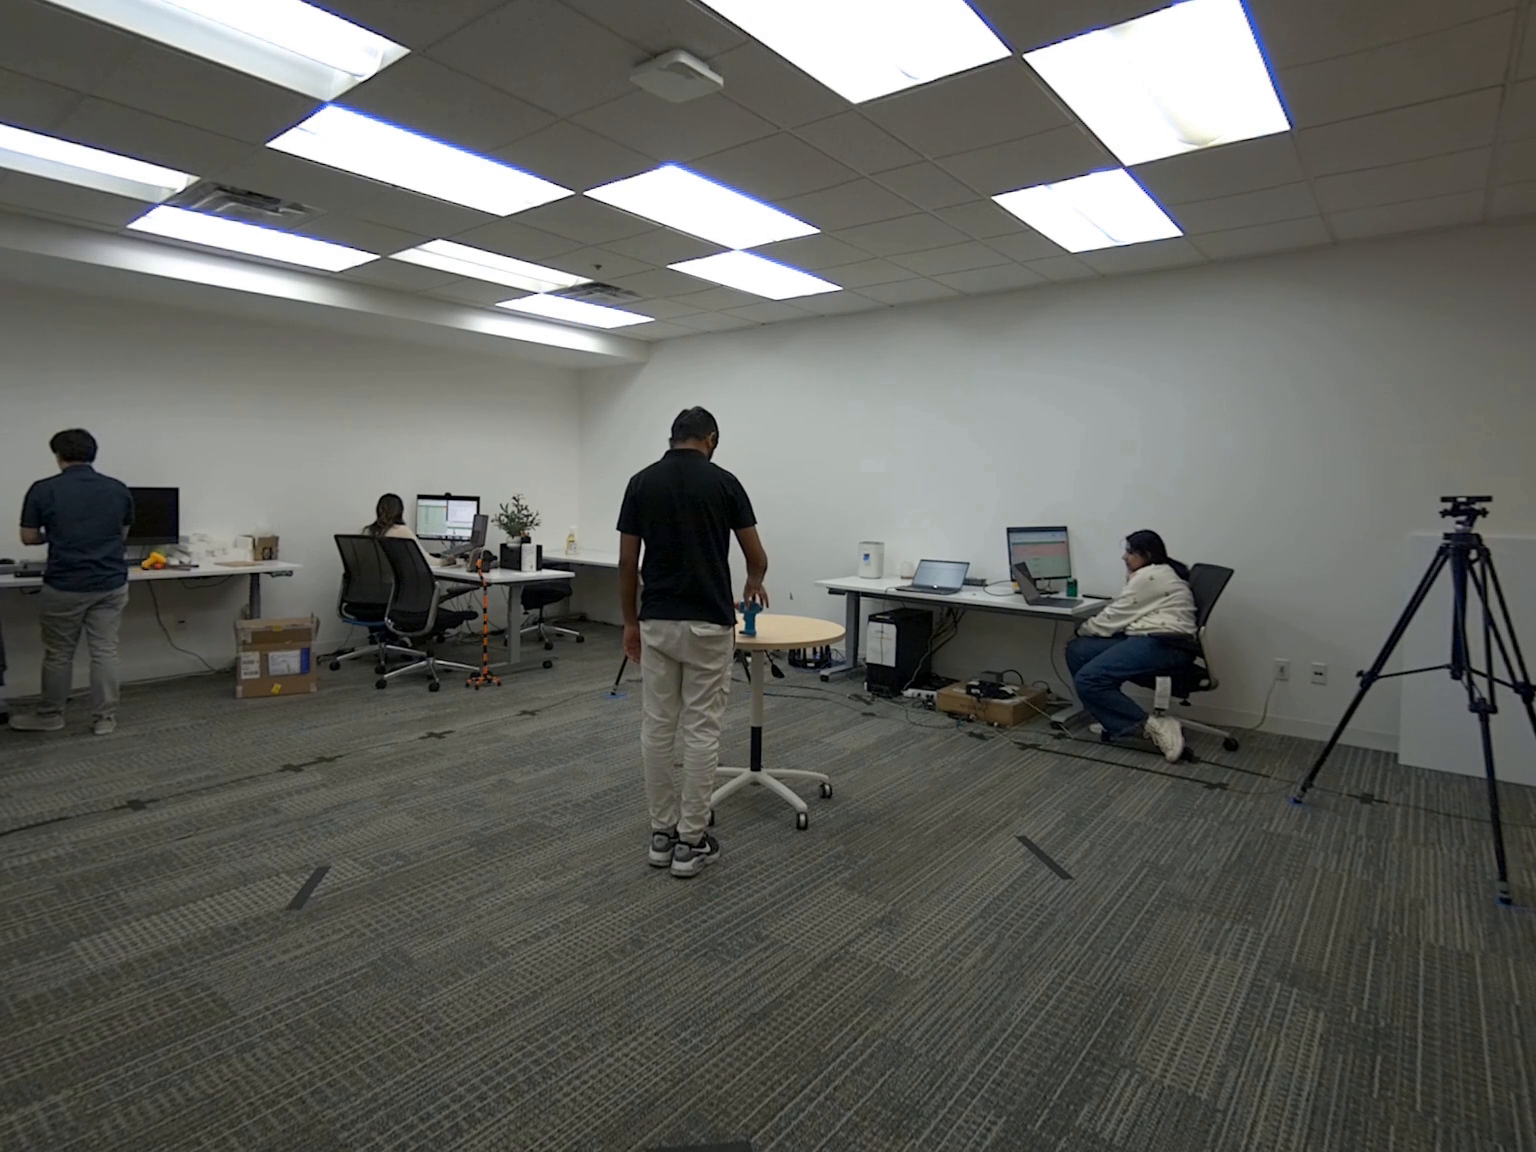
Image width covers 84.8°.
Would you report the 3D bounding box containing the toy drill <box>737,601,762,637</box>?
[{"bbox_3d":[-0.121,0.165,3.532,0.171,0.146,0.061,7,1,5],"label":"toy drill"}]
